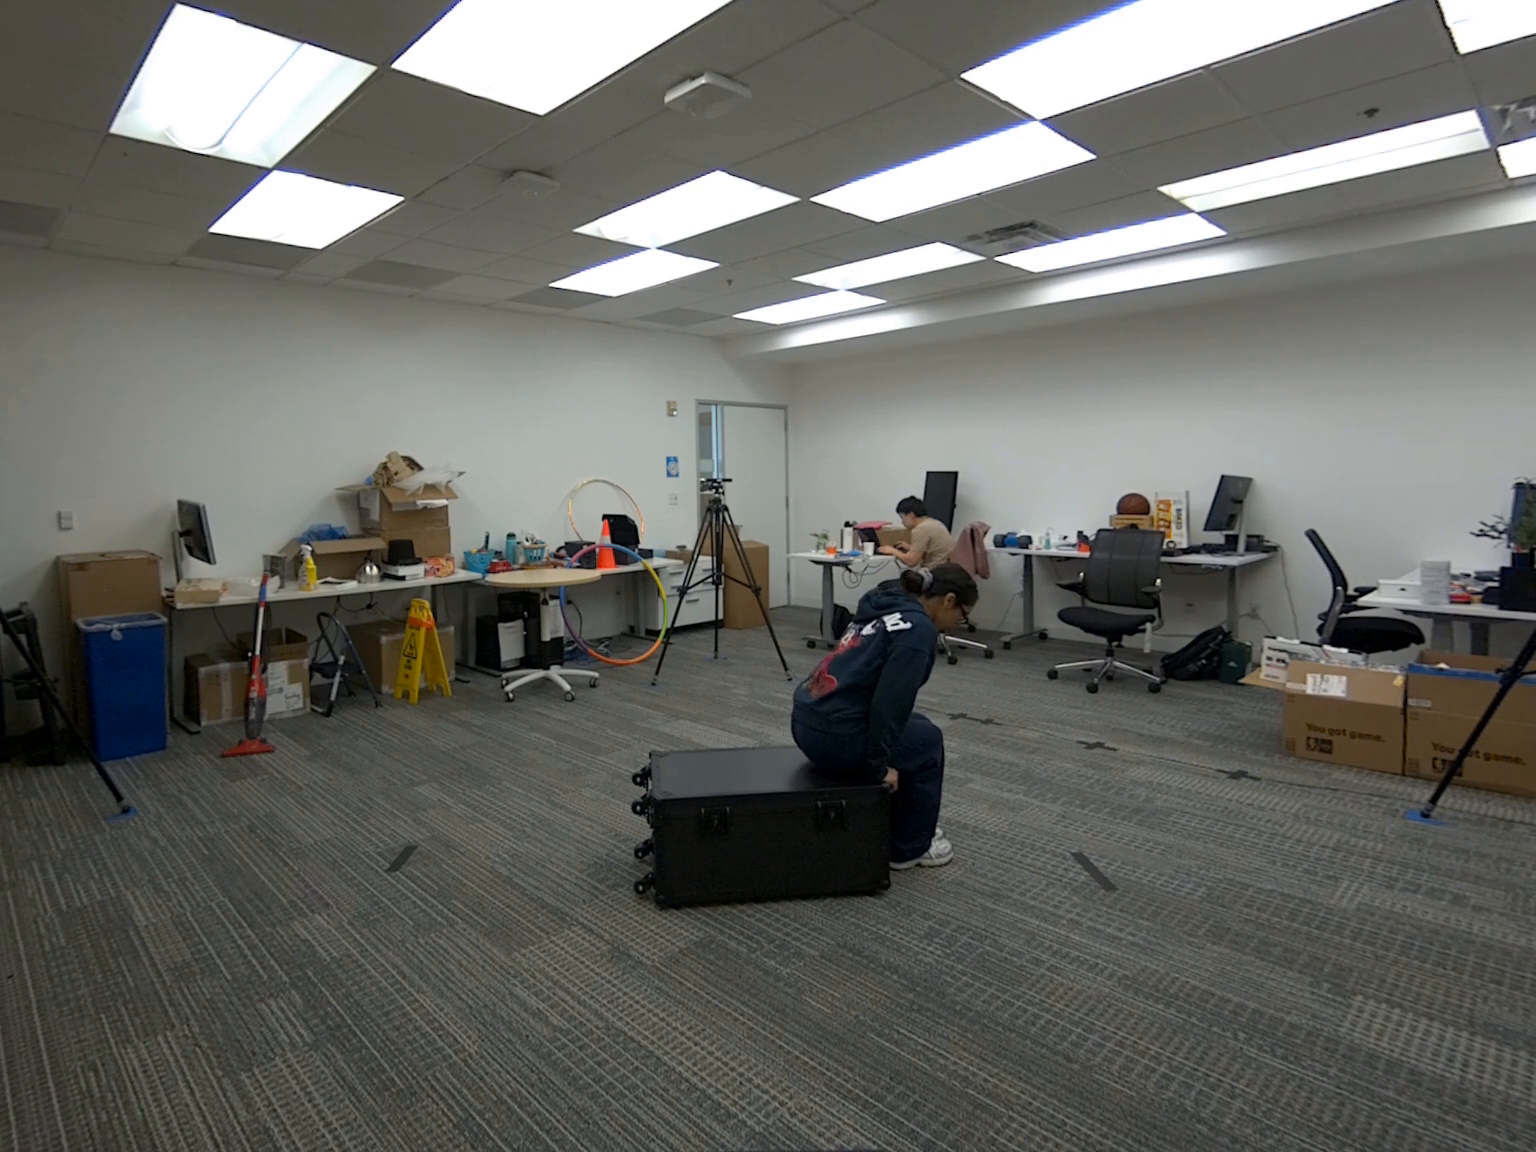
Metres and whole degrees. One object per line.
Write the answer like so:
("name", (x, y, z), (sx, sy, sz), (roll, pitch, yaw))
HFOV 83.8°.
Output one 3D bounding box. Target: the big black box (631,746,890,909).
("big black box", (-0.055, 0.857, 3.026), (0.856, 0.395, 0.527), (-1, 5, -7))
